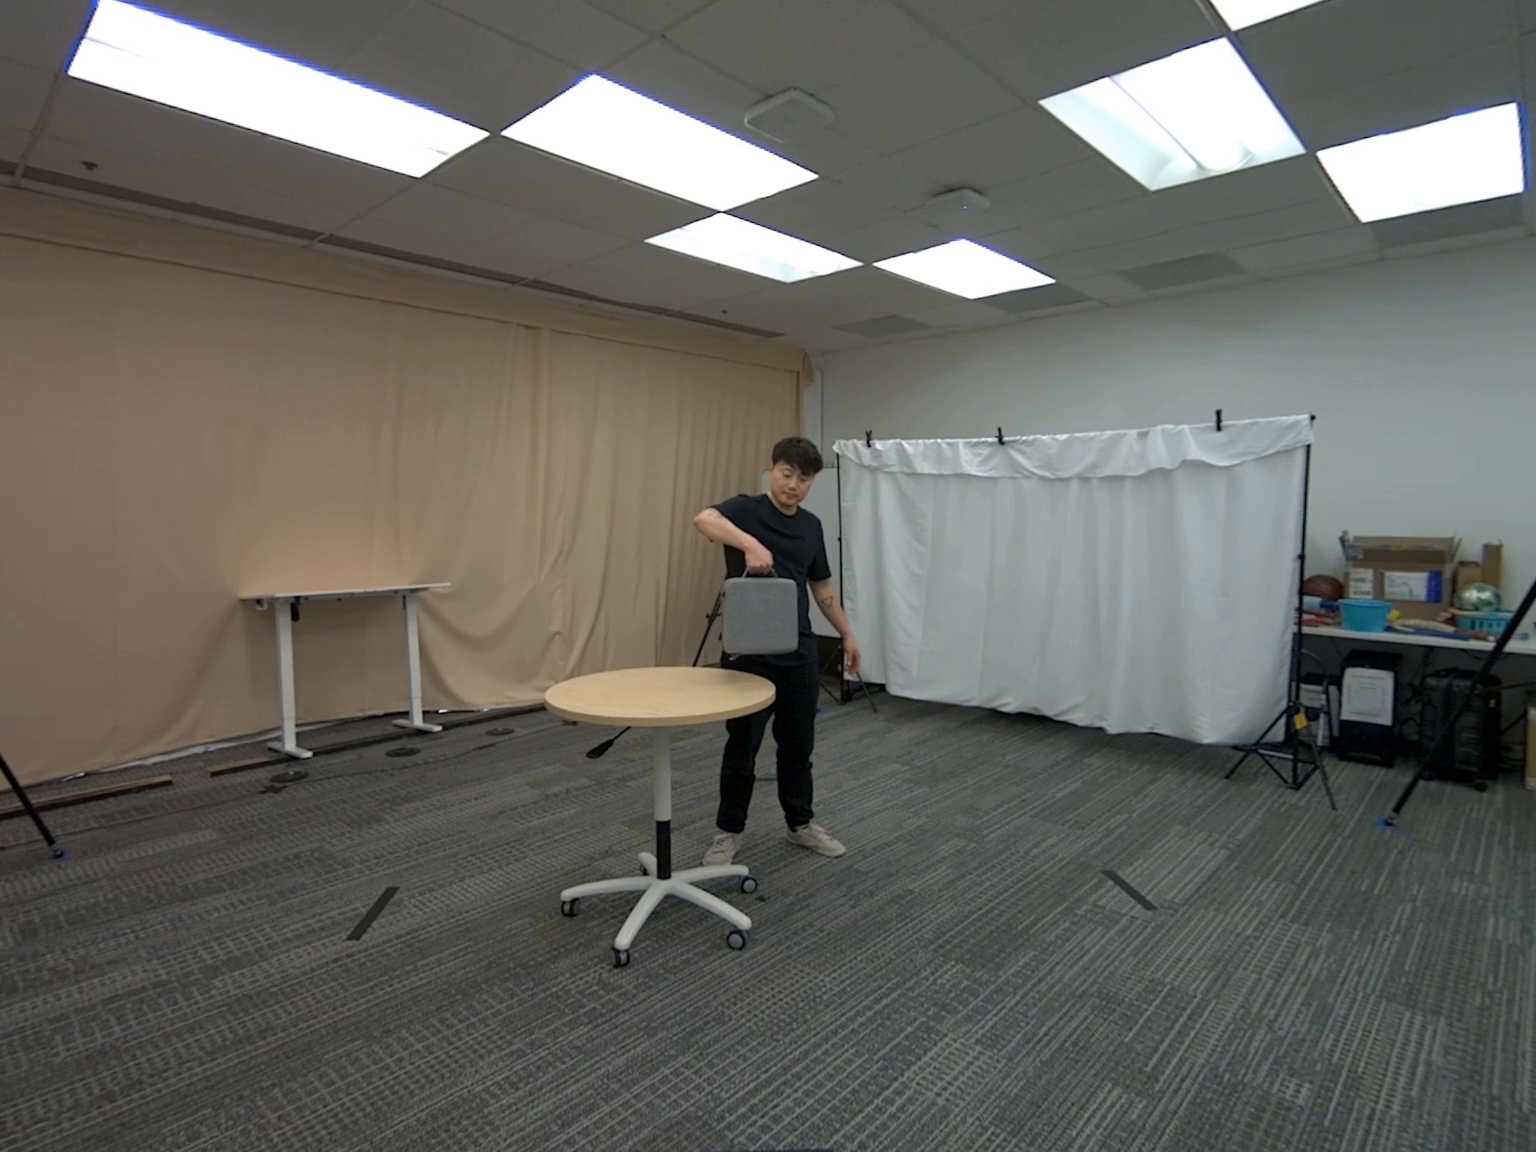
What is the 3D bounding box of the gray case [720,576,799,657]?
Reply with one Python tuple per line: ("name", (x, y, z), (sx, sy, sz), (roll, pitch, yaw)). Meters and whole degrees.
("gray case", (-0.023, 0.135, 2.866), (0.254, 0.261, 0.105), (-1, -3, -12))
